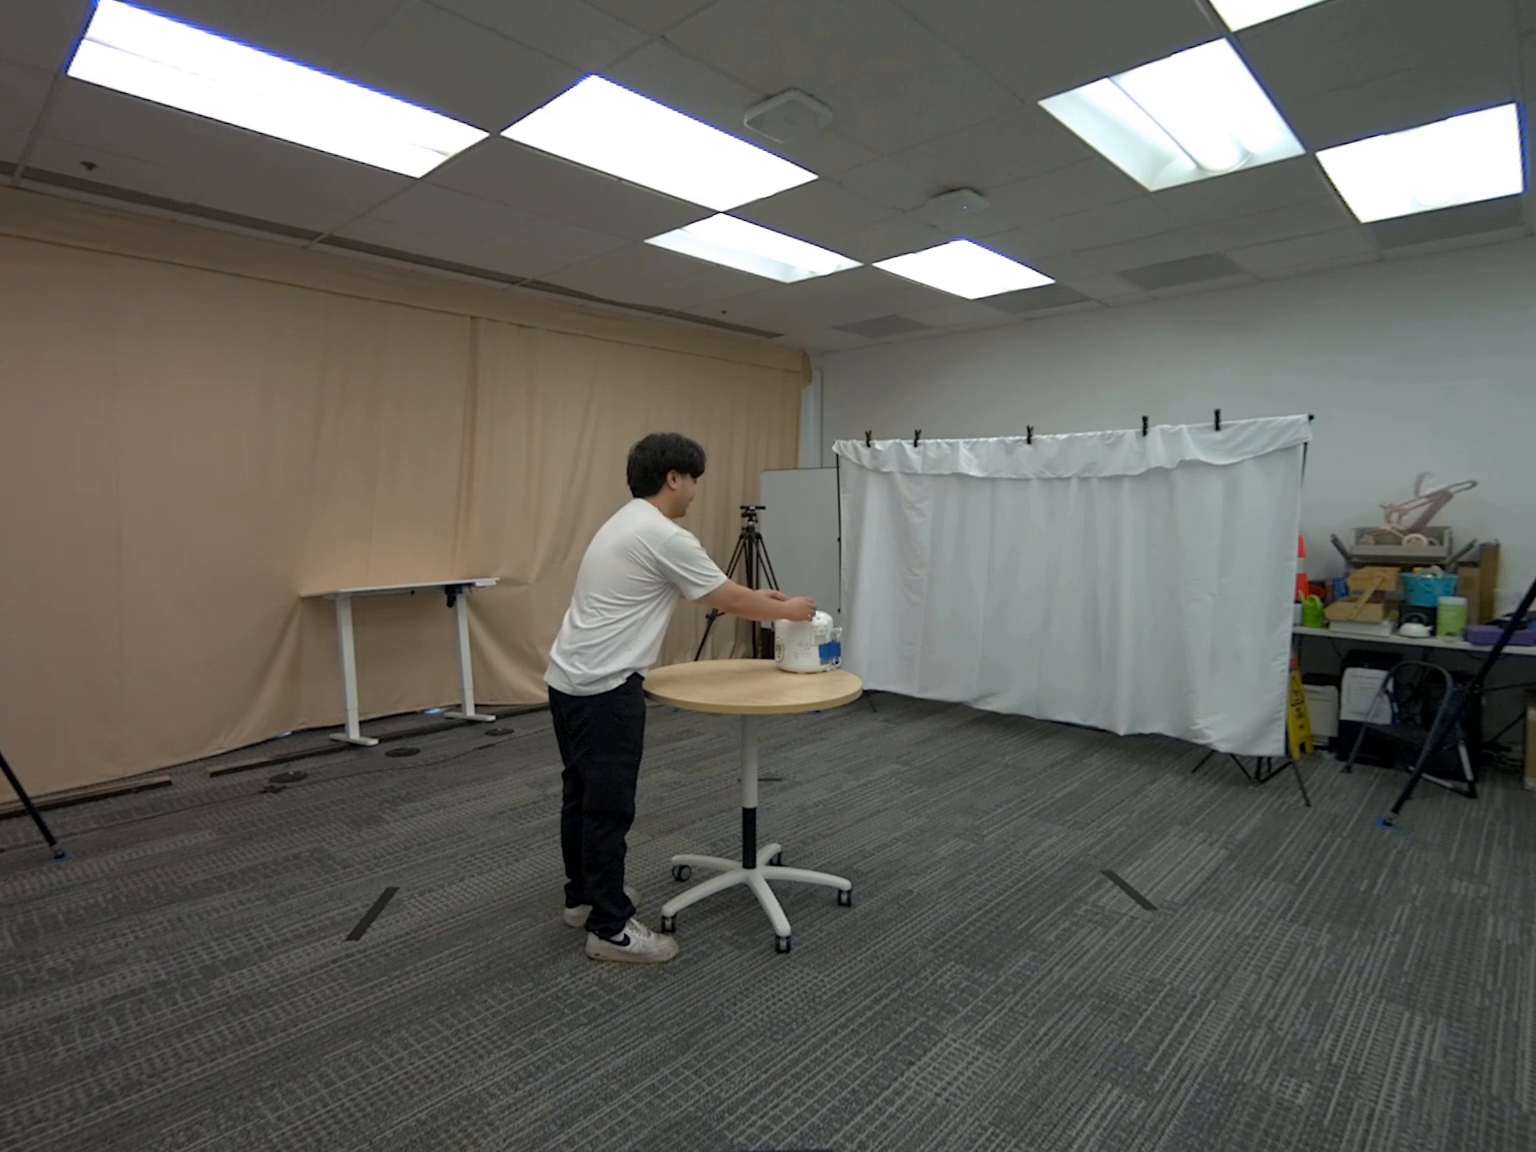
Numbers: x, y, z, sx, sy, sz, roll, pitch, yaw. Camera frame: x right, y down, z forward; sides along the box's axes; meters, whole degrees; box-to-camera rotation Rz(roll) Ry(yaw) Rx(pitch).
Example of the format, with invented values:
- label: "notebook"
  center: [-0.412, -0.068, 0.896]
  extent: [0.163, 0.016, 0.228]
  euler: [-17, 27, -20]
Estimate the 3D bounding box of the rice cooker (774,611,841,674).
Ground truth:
- label: "rice cooker"
  center: [0.134, 0.224, 3.059]
  extent: [0.212, 0.232, 0.227]
  euler: [-1, 3, -28]
